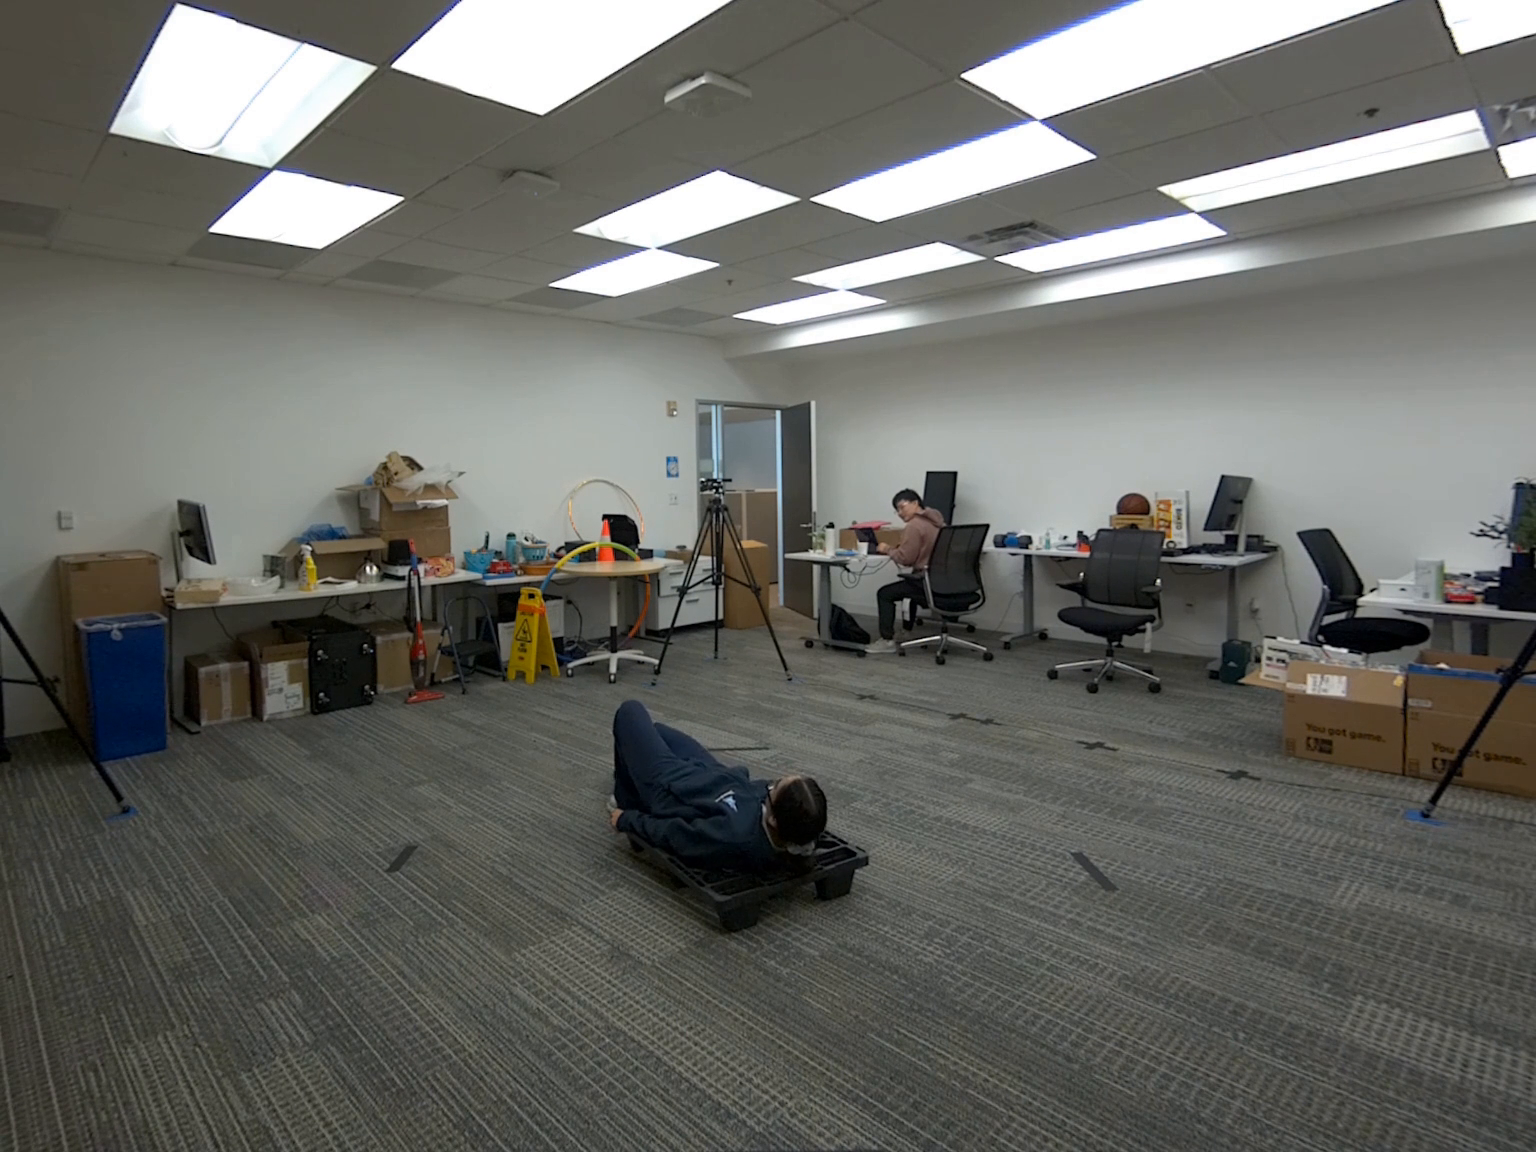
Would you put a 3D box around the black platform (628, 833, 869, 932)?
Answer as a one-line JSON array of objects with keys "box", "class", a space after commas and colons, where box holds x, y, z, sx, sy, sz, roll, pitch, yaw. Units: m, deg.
[{"box": [-0.124, 0.986, 3.043, 0.590, 0.143, 0.829, -4, 7, -32], "class": "black platform"}]
